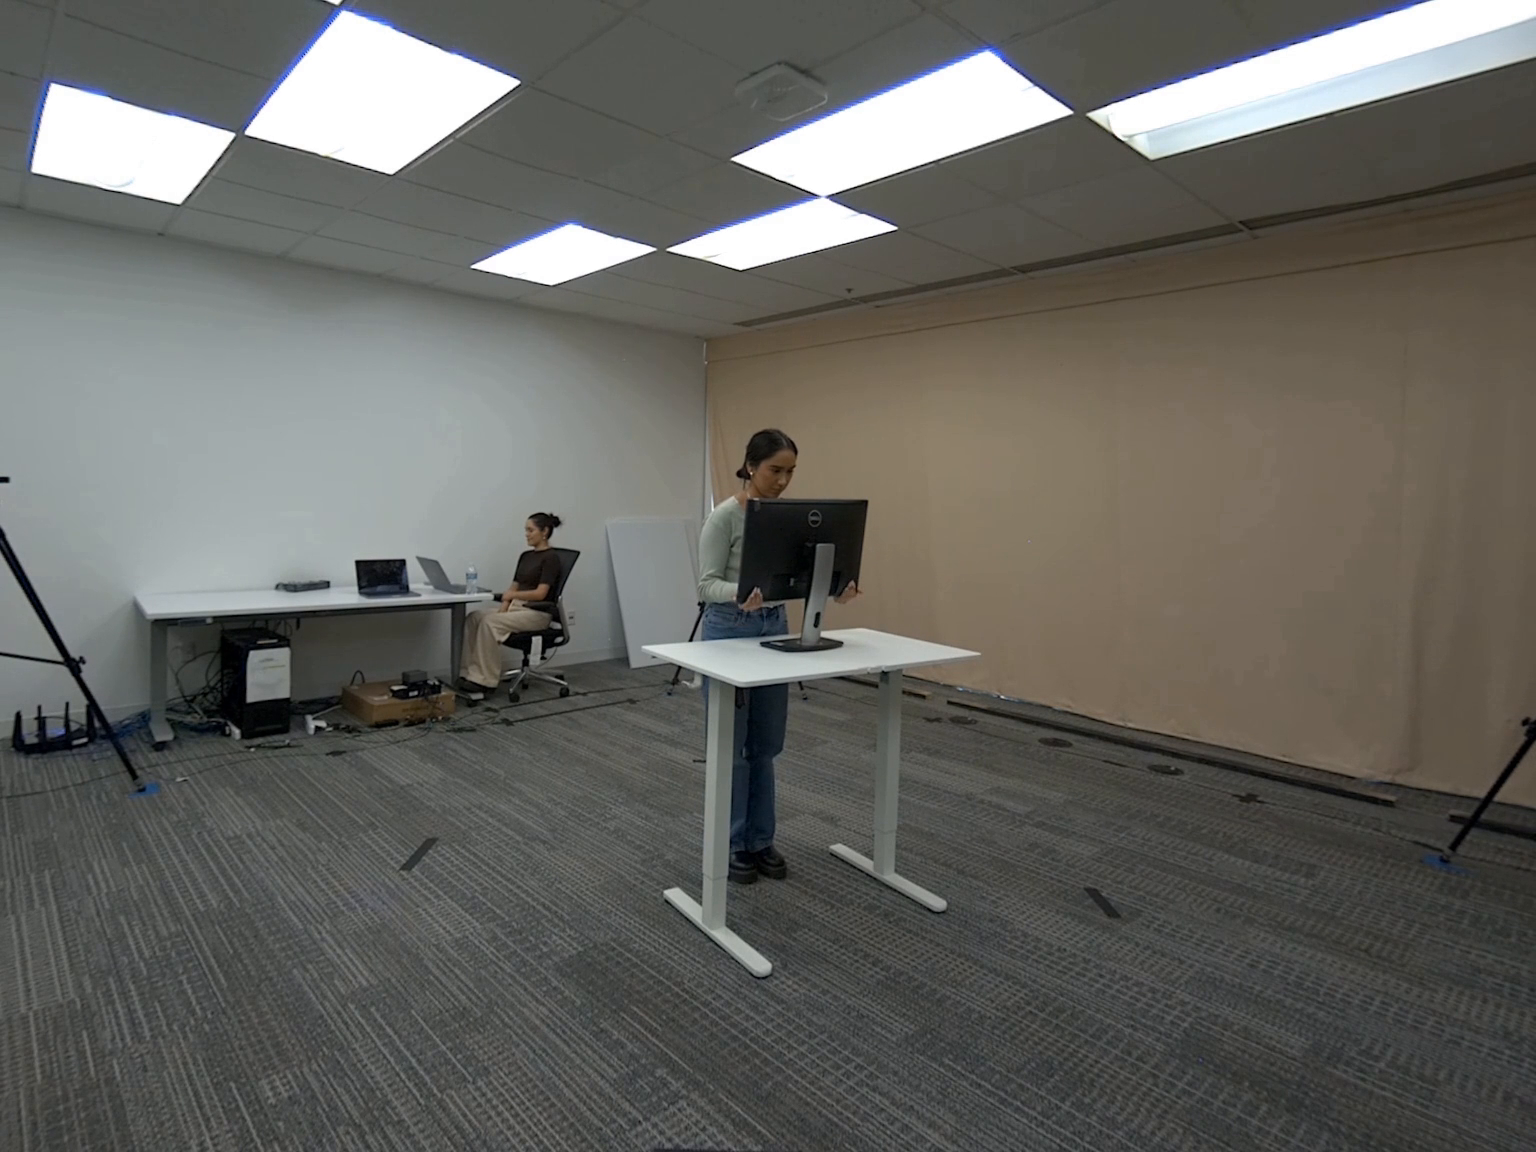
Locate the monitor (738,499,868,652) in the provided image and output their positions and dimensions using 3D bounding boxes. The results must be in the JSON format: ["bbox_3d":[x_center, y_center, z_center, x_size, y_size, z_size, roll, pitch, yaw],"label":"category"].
[{"bbox_3d":[0.132,-0.001,2.897,0.527,0.521,0.192,-2,4,-39],"label":"monitor"}]
